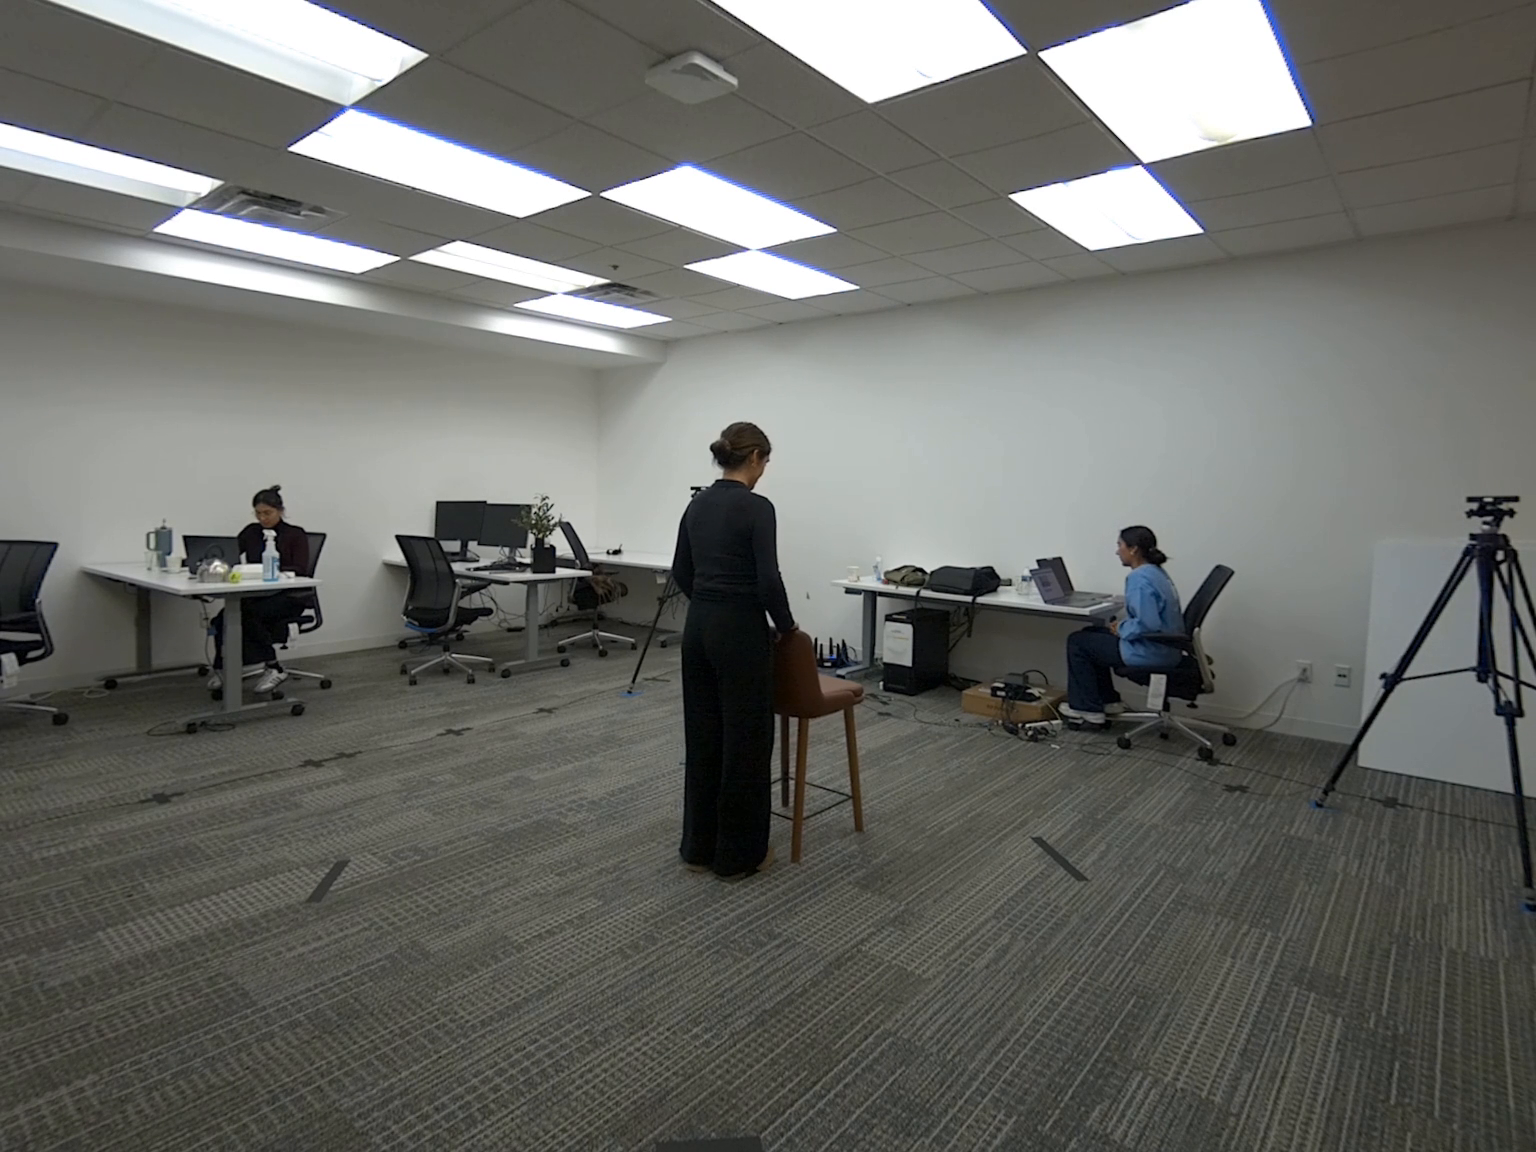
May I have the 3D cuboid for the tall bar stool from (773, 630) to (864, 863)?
[{"bbox_3d":[0.093,0.599,3.419,0.472,0.885,0.454,4,7,40],"label":"tall bar stool"}]
